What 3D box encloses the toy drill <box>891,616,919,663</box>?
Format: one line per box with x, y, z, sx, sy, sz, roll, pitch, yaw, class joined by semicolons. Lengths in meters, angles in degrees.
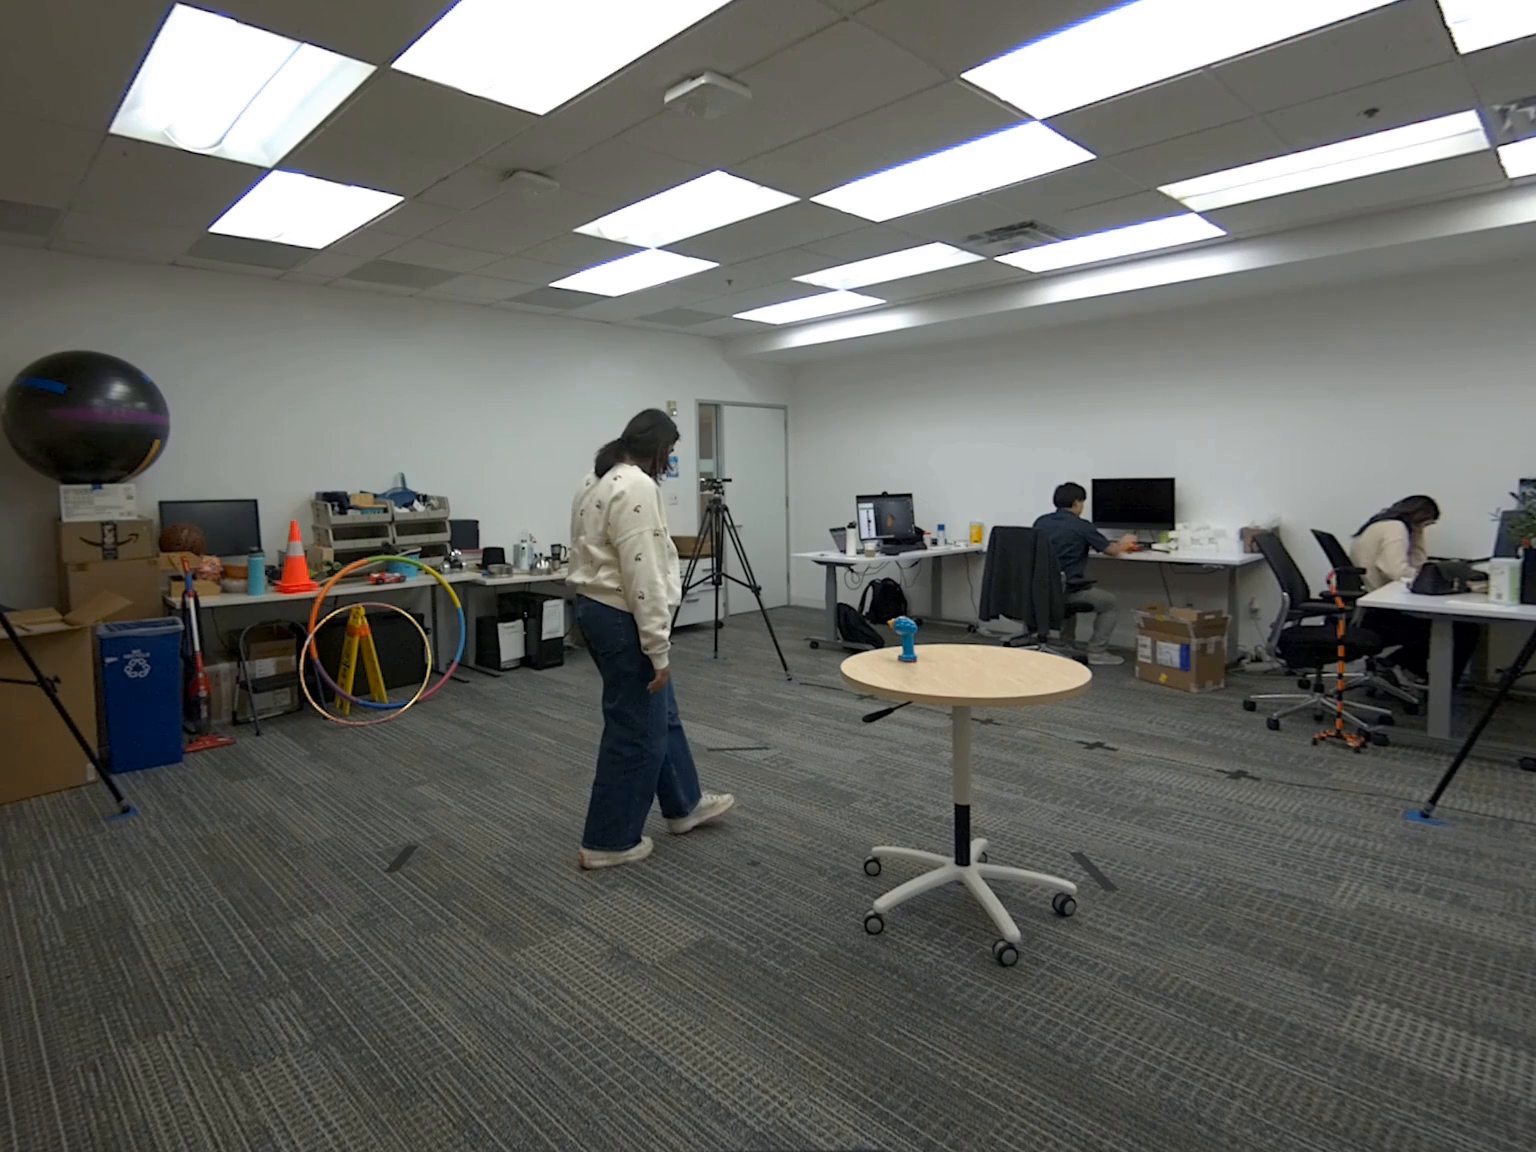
0.452;0.205;2.880;0.060;0.145;0.173;-4;5;-22;toy drill
